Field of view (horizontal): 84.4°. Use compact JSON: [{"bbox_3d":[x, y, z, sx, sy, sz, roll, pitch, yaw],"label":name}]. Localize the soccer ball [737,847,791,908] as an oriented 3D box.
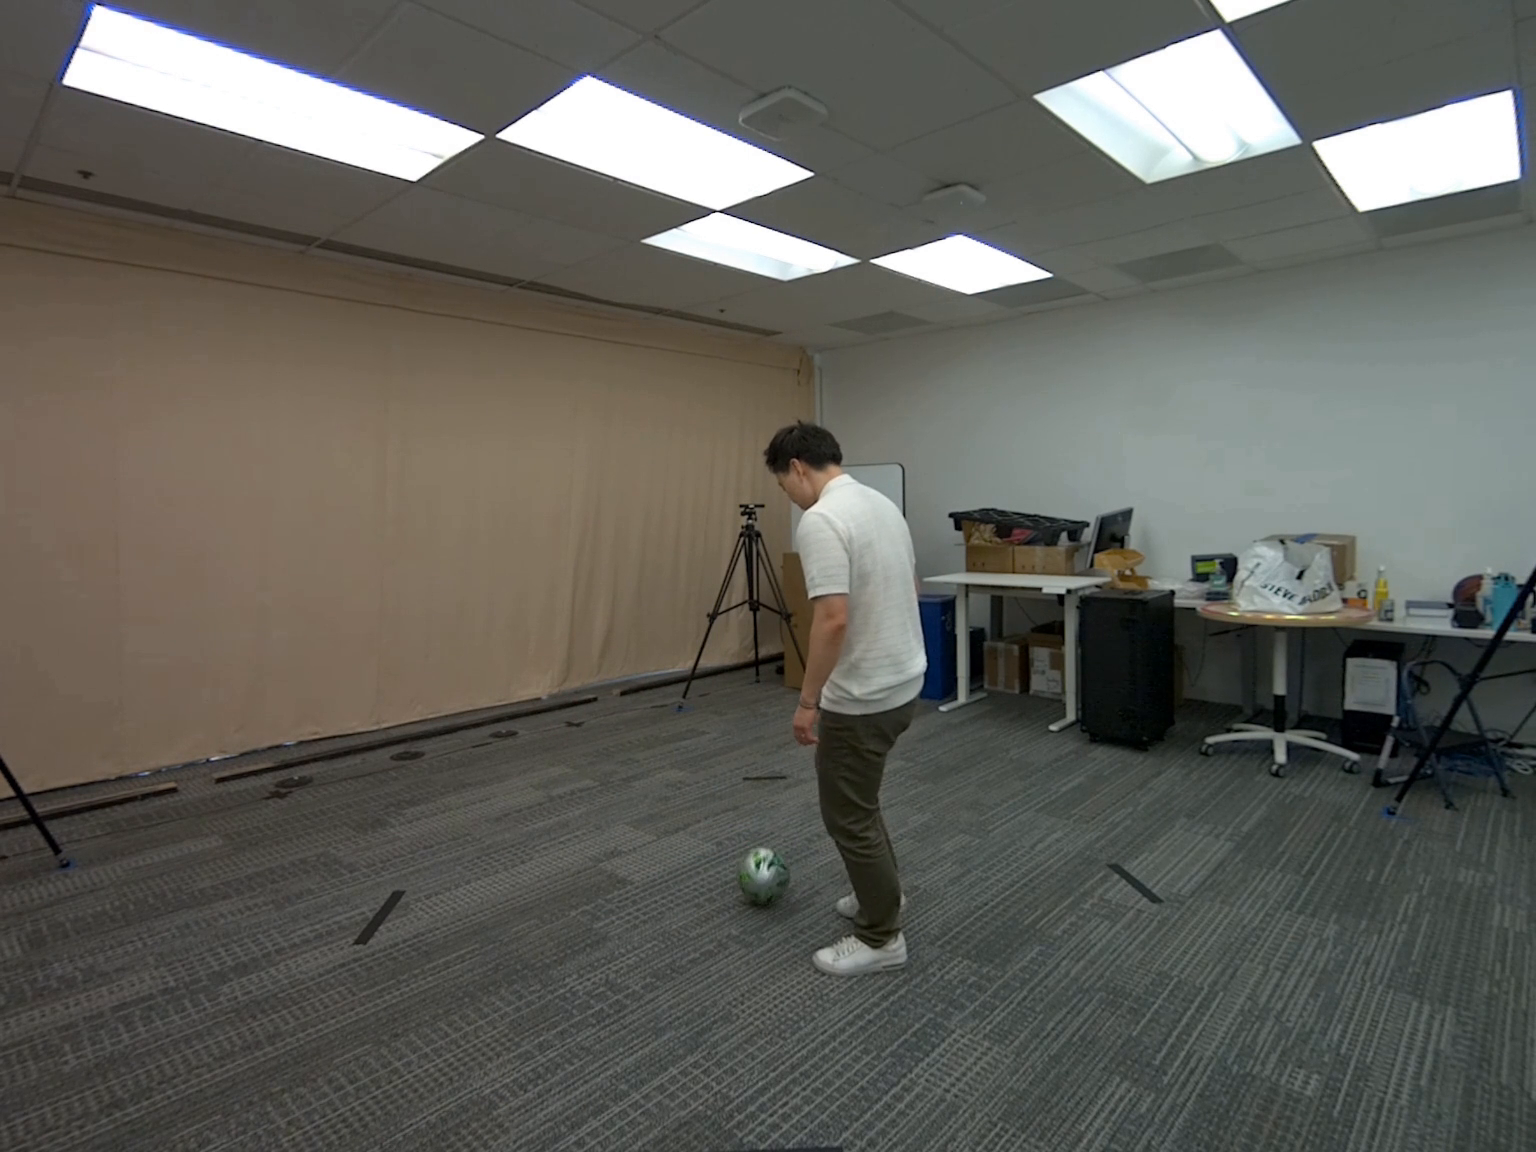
[{"bbox_3d":[-0.016,1.017,2.932,0.187,0.187,0.188,-1,4,-2],"label":"soccer ball"}]
